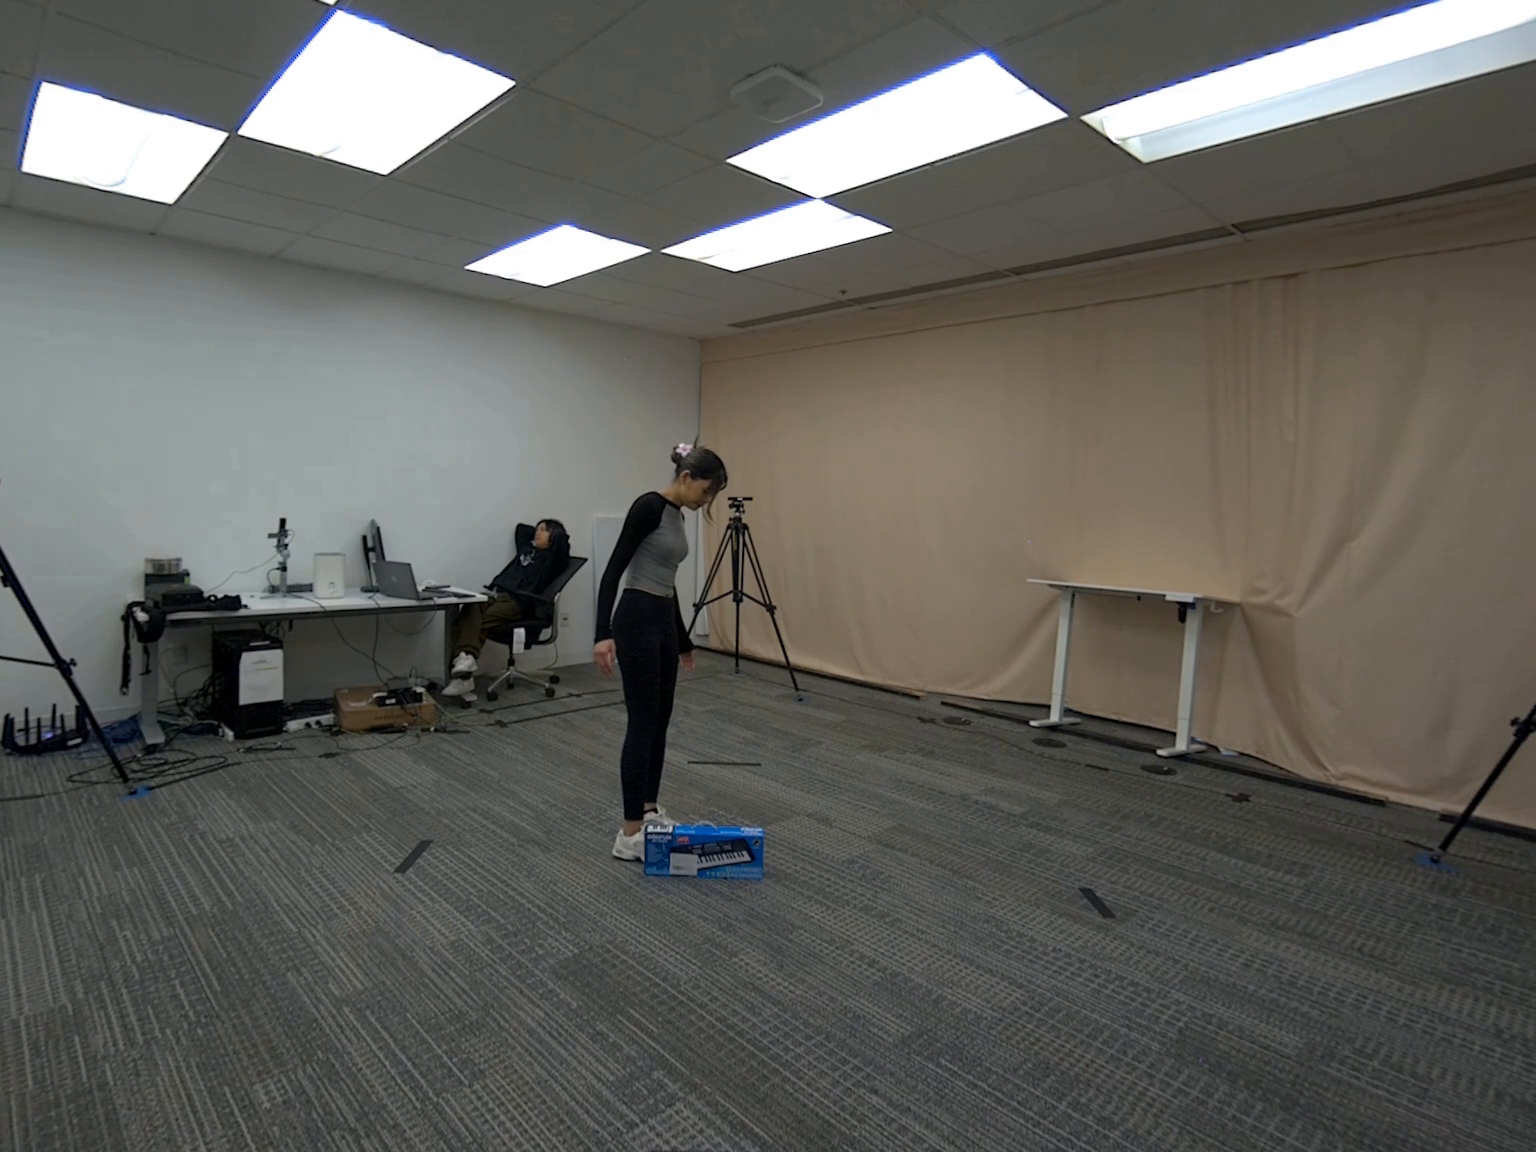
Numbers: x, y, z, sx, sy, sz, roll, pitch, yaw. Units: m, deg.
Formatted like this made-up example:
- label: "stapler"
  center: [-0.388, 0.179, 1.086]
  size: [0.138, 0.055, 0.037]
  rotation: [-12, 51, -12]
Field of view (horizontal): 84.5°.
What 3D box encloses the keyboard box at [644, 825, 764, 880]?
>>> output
- label: "keyboard box"
  center: [-0.242, 1.013, 3.100]
  size: [0.437, 0.175, 0.059]
  rotation: [2, 9, 1]
